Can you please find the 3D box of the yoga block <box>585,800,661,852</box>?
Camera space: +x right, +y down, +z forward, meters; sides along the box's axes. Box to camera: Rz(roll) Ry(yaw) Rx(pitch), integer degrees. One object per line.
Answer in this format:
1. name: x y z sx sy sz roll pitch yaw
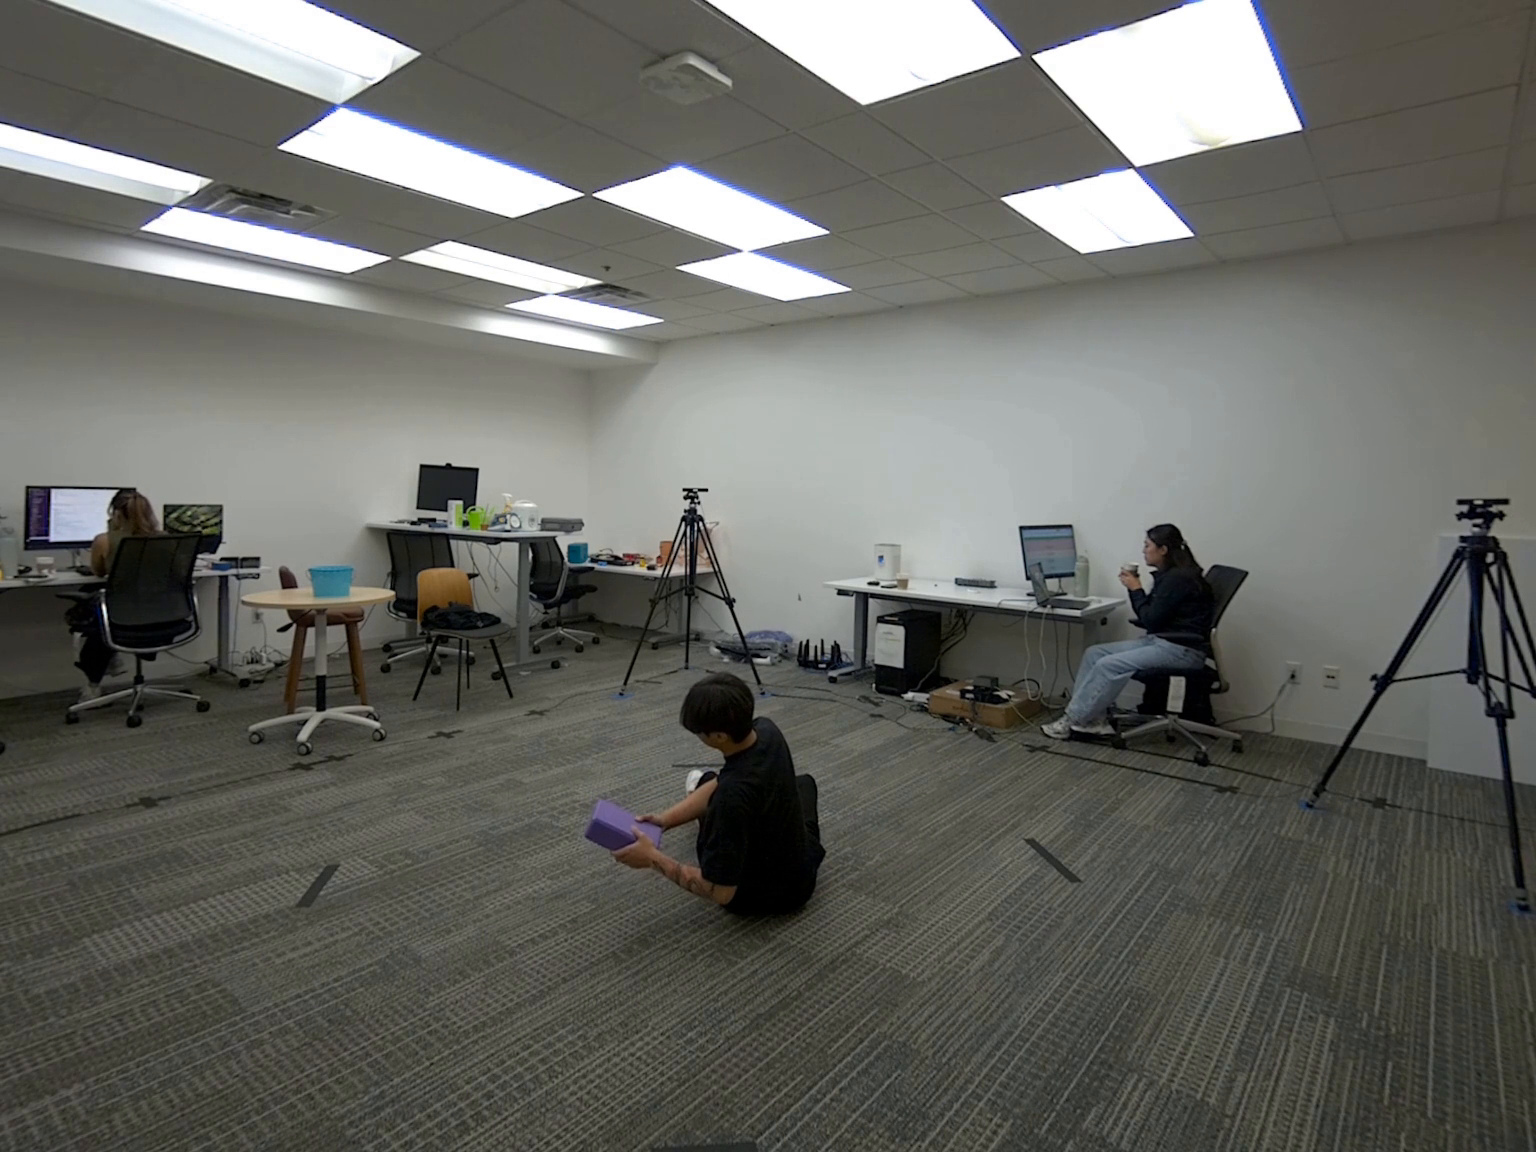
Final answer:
1. yoga block: -0.456 0.816 2.687 0.229 0.076 0.150 24 8 -1
